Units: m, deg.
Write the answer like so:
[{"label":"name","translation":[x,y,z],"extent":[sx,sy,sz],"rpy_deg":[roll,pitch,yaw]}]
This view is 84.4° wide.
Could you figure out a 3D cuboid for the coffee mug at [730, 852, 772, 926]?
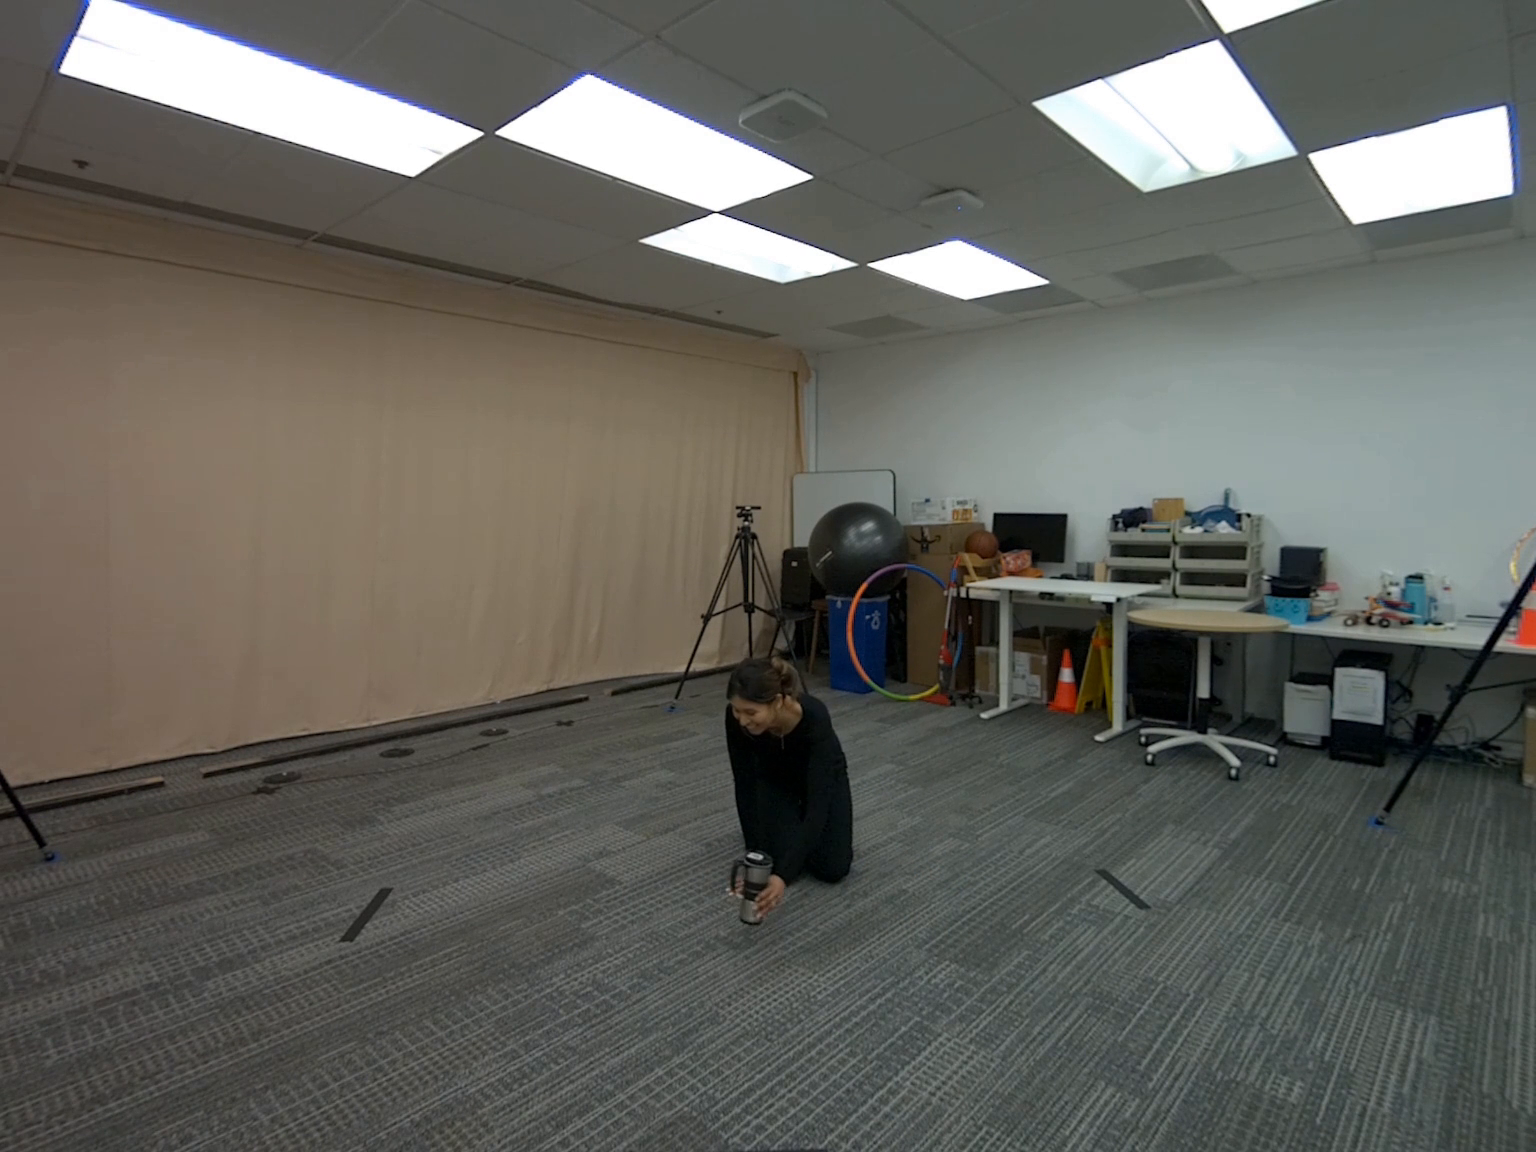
[{"label":"coffee mug","translation":[-0.054,0.962,2.607],"extent":[0.124,0.202,0.087],"rpy_deg":[11,4,12]}]
